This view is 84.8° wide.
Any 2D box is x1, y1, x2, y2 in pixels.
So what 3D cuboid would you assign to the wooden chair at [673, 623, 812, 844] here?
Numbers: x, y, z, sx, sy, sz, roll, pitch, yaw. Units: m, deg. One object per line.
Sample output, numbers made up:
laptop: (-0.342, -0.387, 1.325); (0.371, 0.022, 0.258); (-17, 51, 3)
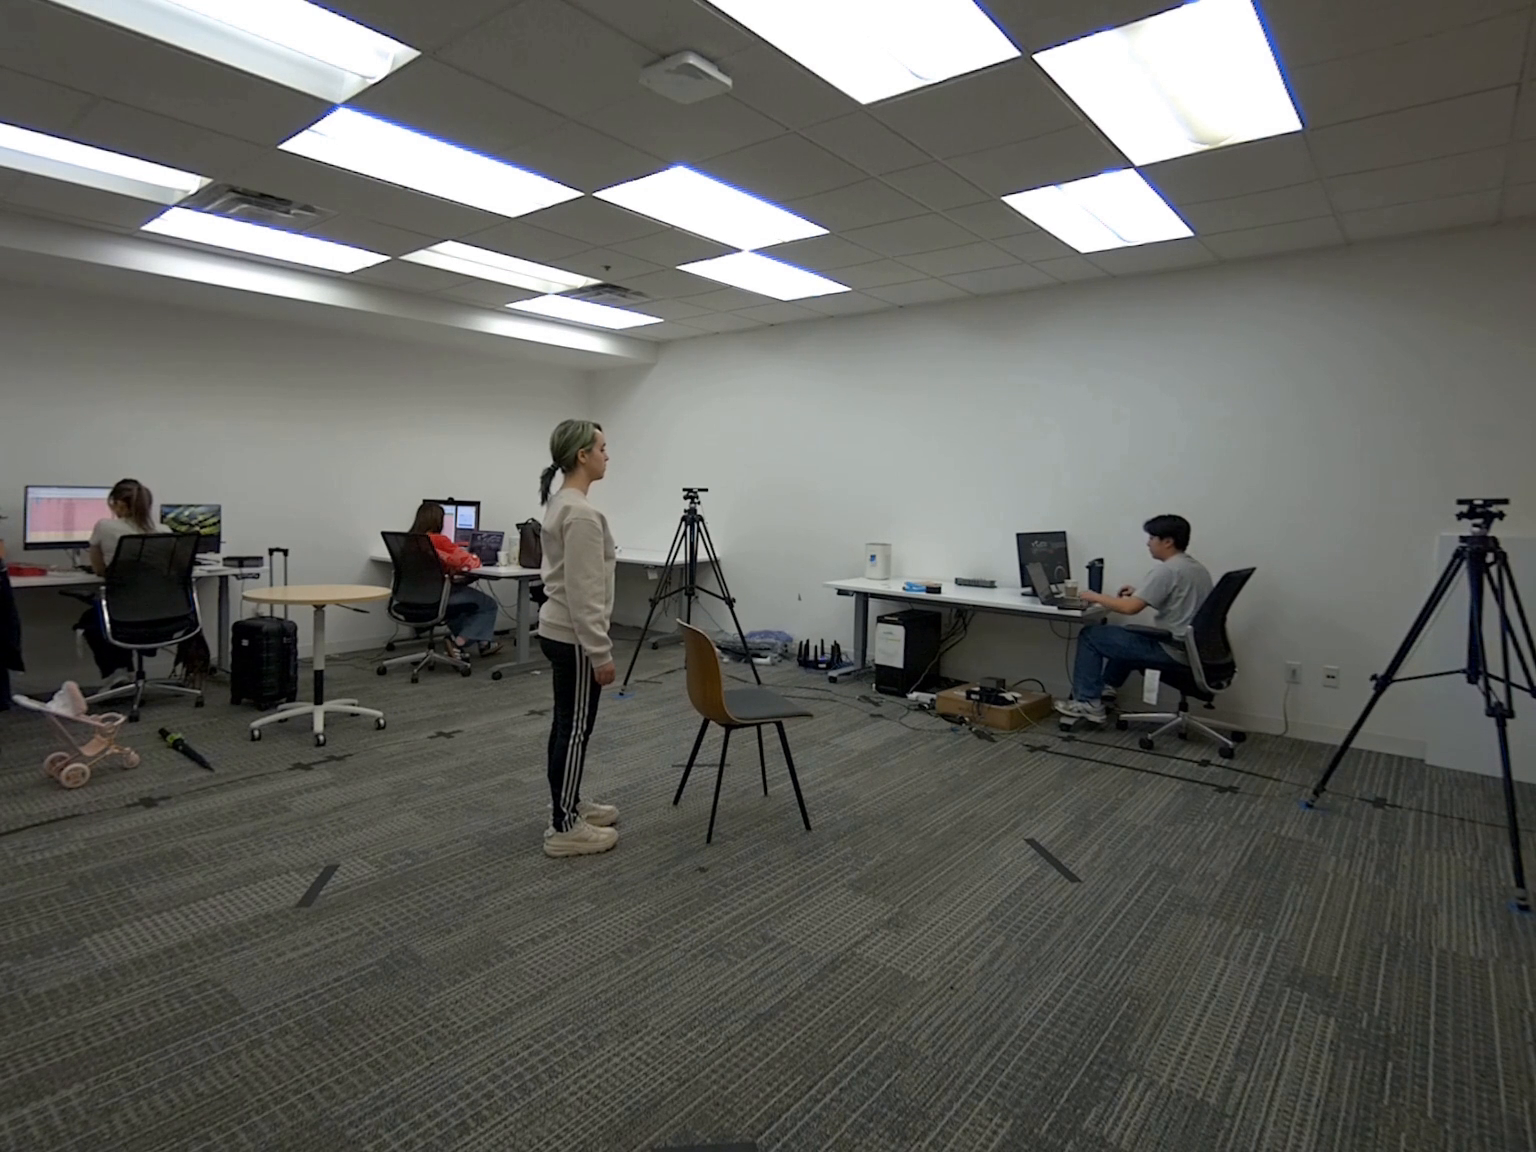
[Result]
wooden chair: (-0.111, 0.602, 3.586); (0.513, 0.874, 0.490); (-5, 5, -22)
